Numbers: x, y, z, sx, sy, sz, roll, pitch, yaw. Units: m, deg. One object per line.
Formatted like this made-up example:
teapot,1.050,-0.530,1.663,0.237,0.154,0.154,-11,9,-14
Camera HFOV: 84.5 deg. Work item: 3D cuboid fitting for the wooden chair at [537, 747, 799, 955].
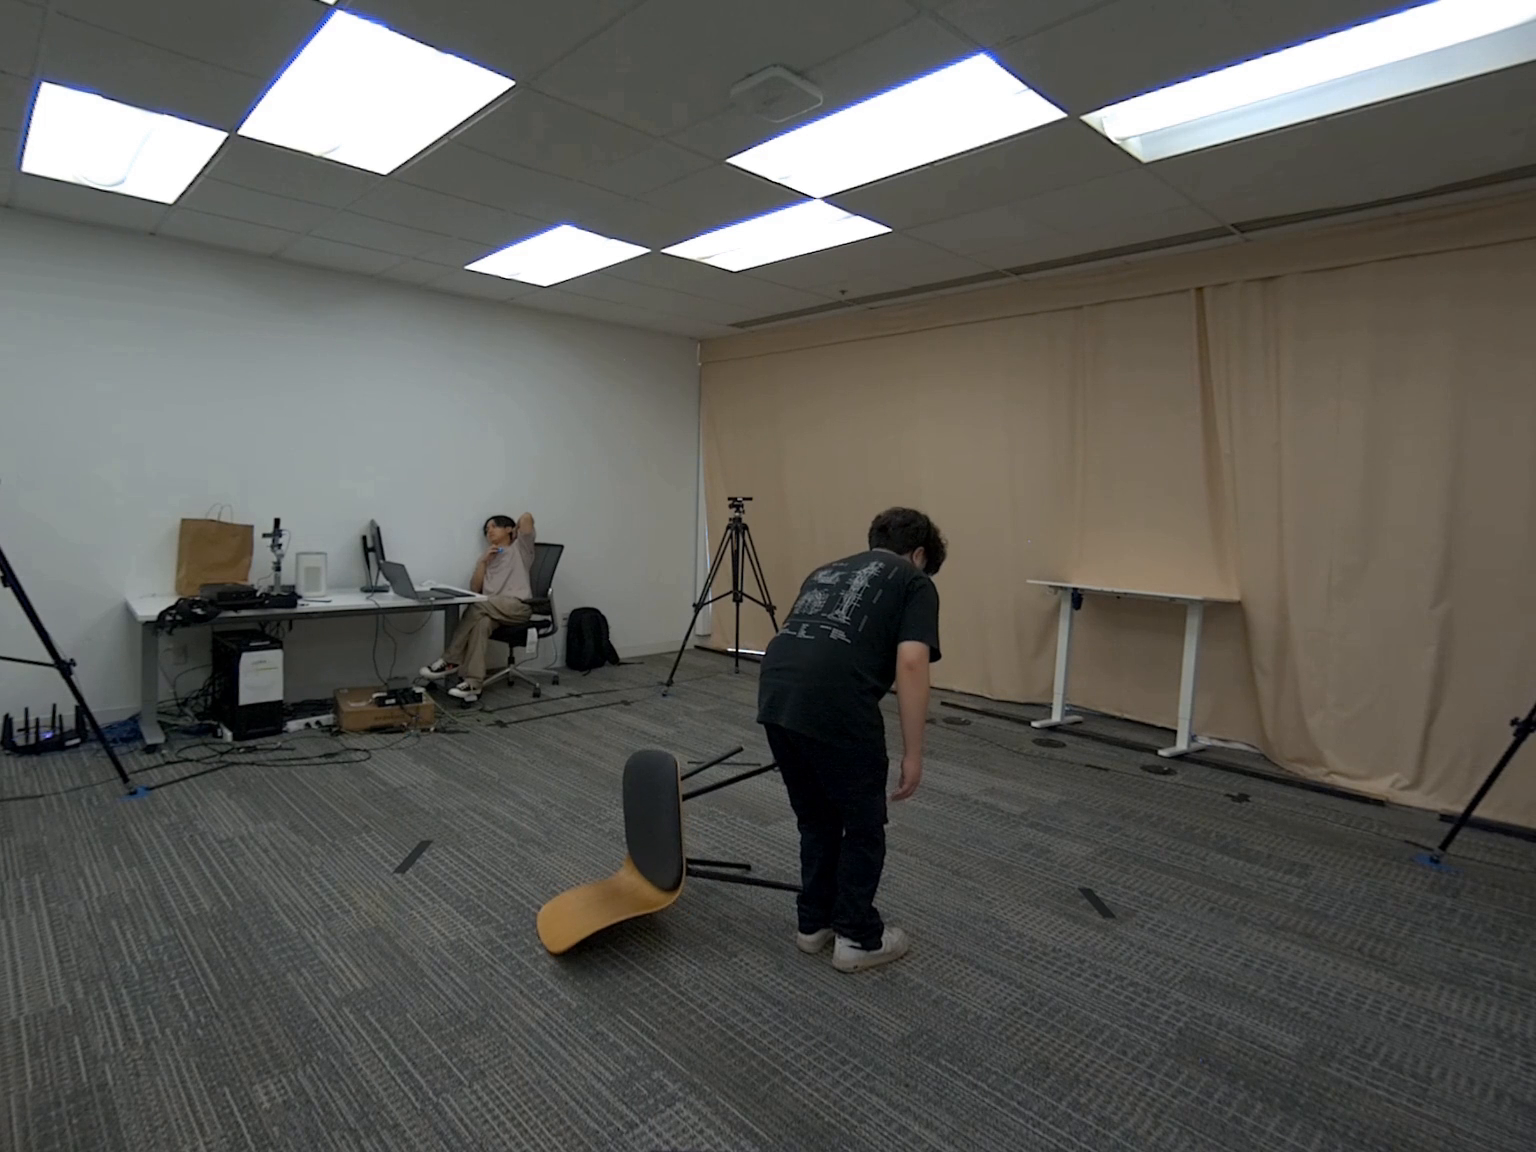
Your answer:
wooden chair,-0.343,0.852,2.798,0.861,0.525,0.485,-5,-5,-29
